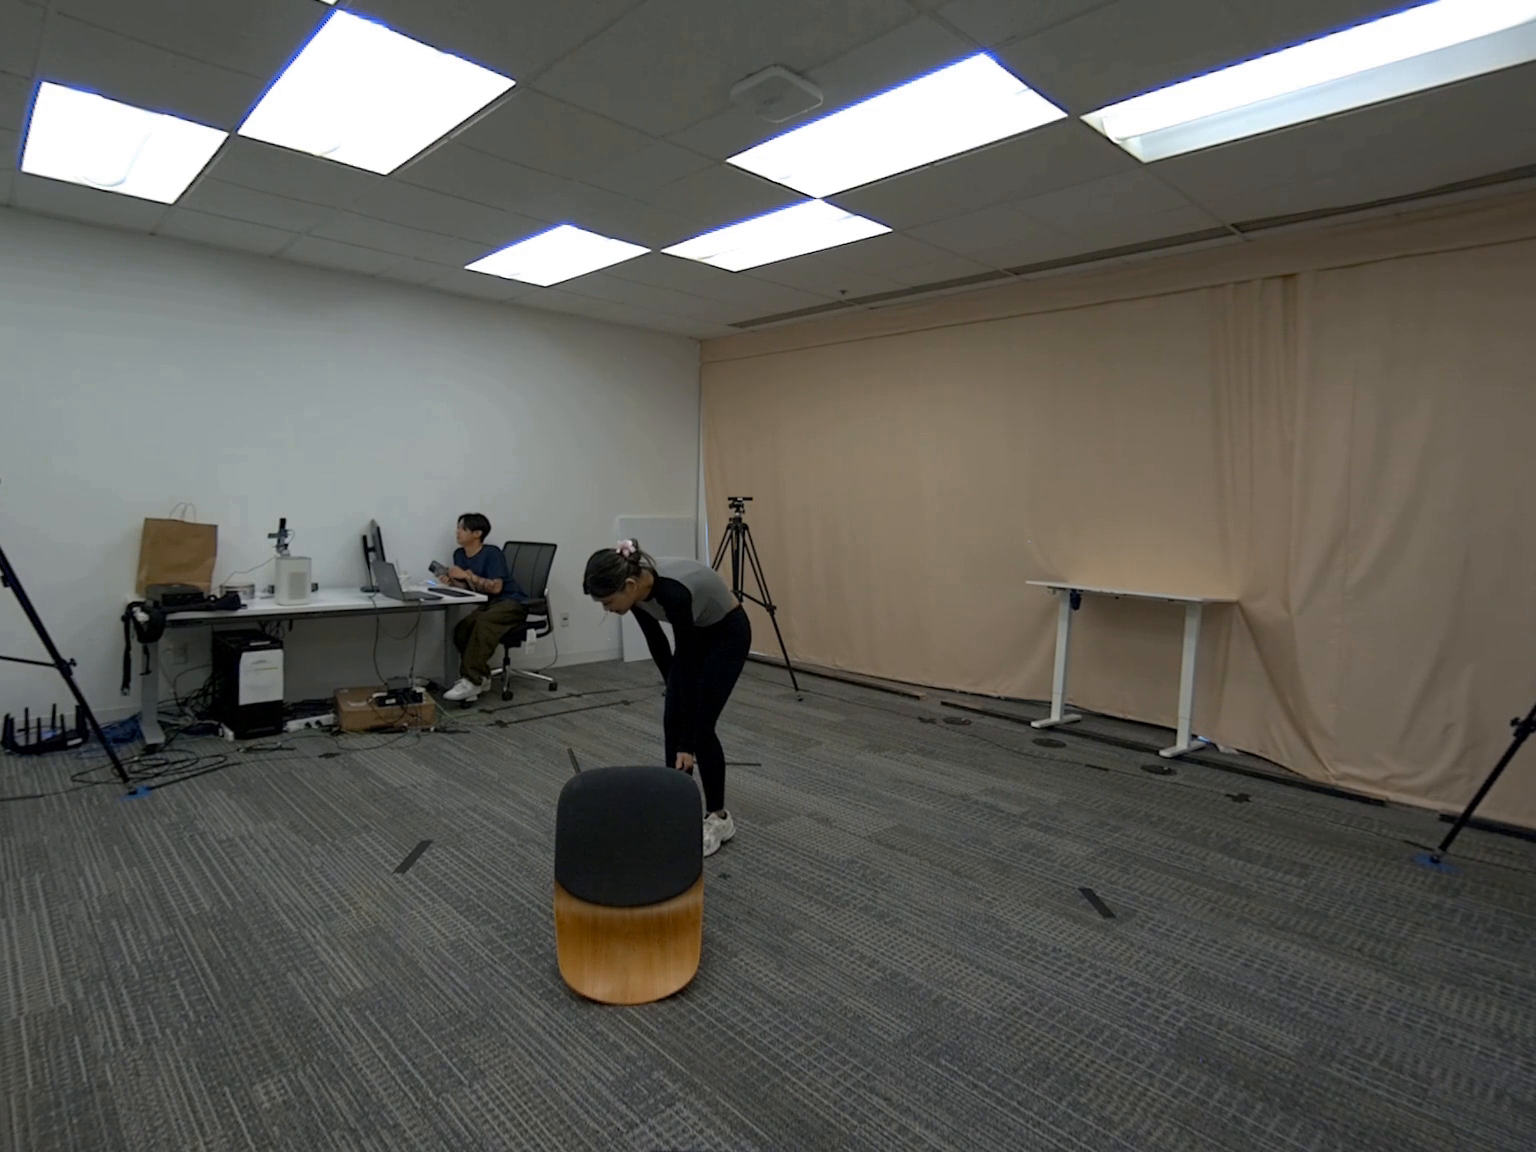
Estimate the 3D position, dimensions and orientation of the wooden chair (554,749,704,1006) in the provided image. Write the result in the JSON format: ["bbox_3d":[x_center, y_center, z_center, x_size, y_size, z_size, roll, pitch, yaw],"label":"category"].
[{"bbox_3d":[-0.455,0.878,2.714,0.475,0.521,0.886,1,5,-9],"label":"wooden chair"}]
